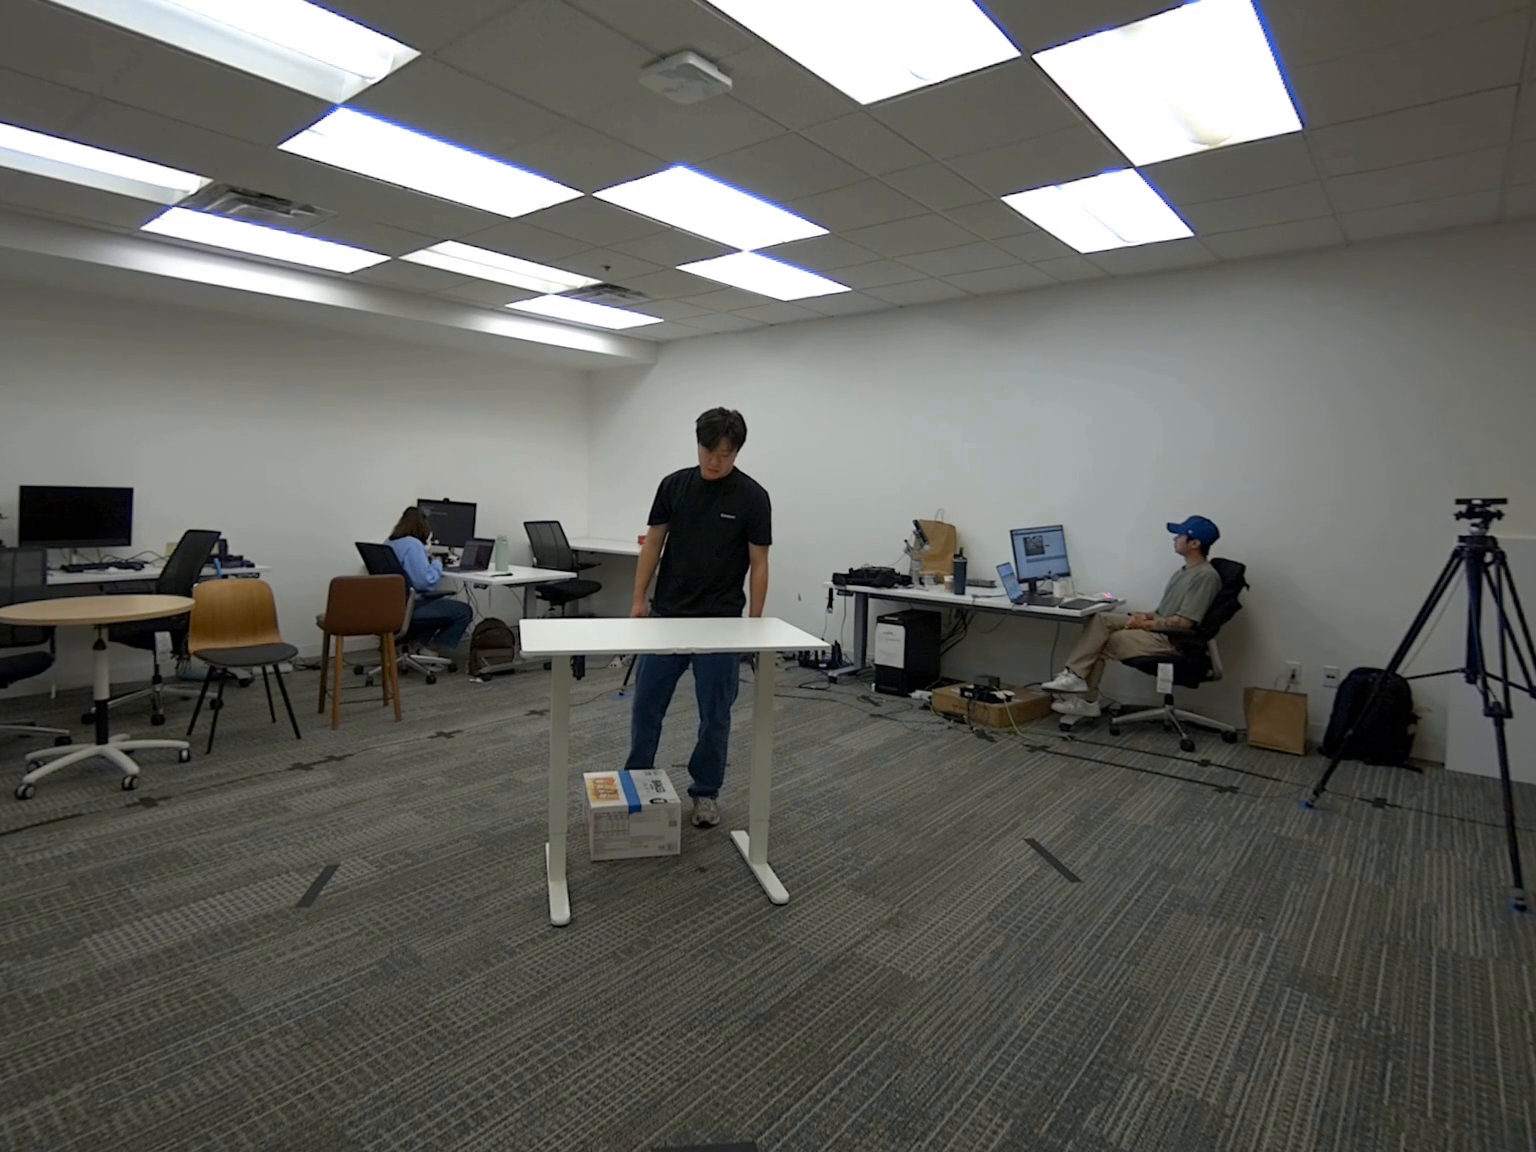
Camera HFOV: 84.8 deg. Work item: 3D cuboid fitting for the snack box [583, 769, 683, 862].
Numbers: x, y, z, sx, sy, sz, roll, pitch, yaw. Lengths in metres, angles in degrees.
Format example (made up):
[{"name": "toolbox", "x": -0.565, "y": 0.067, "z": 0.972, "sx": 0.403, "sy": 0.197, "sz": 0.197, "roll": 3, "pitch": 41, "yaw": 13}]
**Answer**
[{"name": "snack box", "x": -0.562, "y": 0.937, "z": 3.377, "sx": 0.335, "sy": 0.205, "sz": 0.413, "roll": 0, "pitch": 5, "yaw": -15}]
